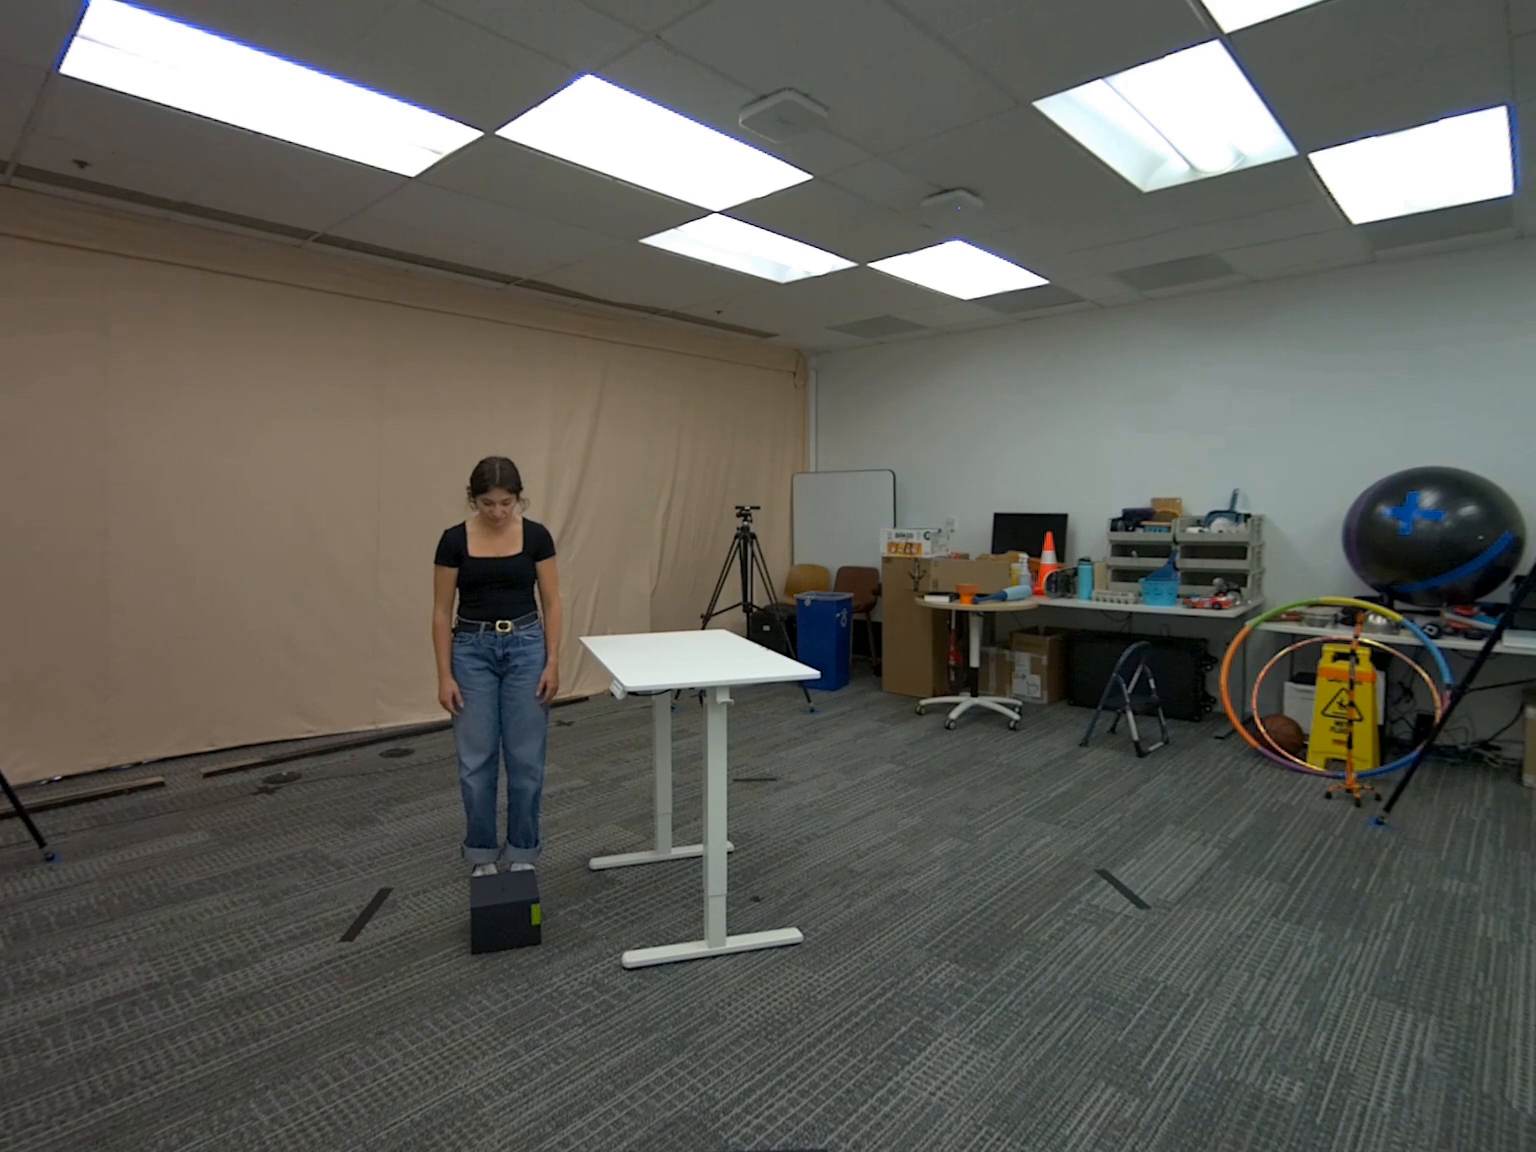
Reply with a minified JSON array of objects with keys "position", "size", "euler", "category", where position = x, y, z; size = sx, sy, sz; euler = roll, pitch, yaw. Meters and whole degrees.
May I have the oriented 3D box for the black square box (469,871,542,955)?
[{"position":[-0.861,1.088,2.746],"size":[0.213,0.155,0.233],"euler":[-1,4,-19],"category":"black square box"}]
